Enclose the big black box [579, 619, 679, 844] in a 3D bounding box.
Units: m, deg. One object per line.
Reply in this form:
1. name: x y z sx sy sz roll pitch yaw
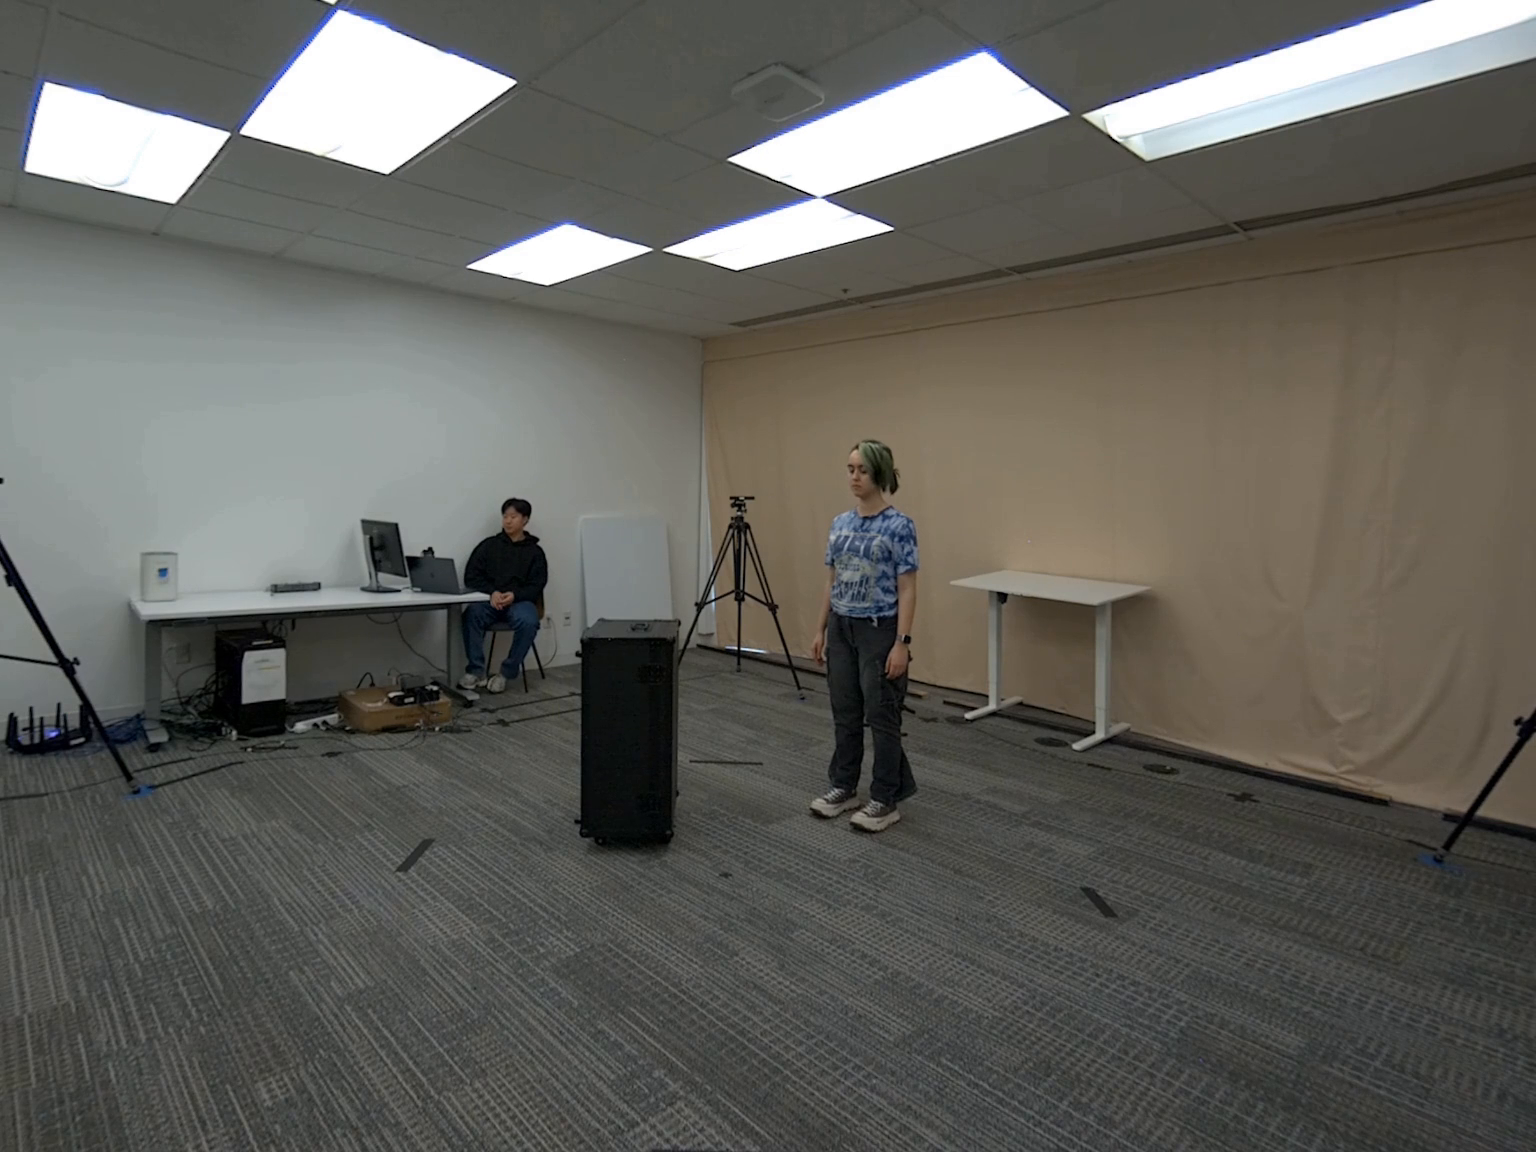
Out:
1. big black box: -0.575 0.638 3.461 0.395 0.859 0.524 0 4 -4
